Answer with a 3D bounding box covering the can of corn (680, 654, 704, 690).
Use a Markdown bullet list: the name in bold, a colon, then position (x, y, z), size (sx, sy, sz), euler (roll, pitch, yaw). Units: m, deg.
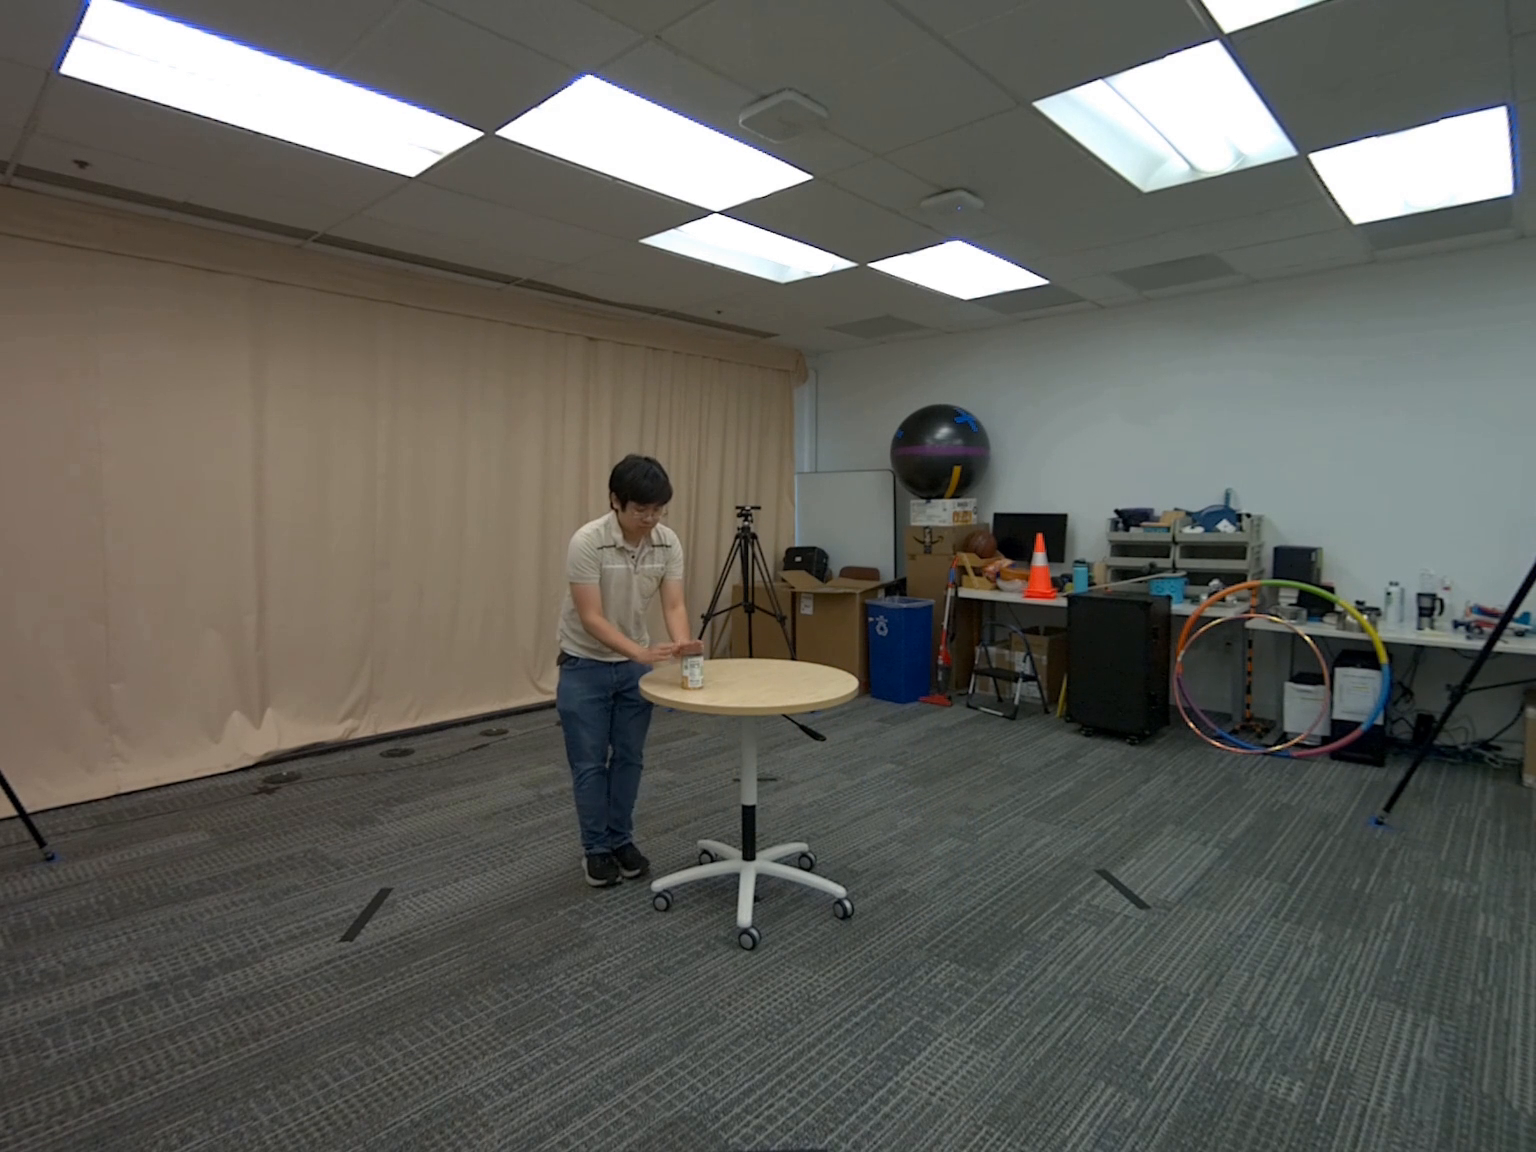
- **can of corn**: position (-0.247, 0.323, 2.825), size (0.074, 0.111, 0.074), euler (-3, 4, -2)
